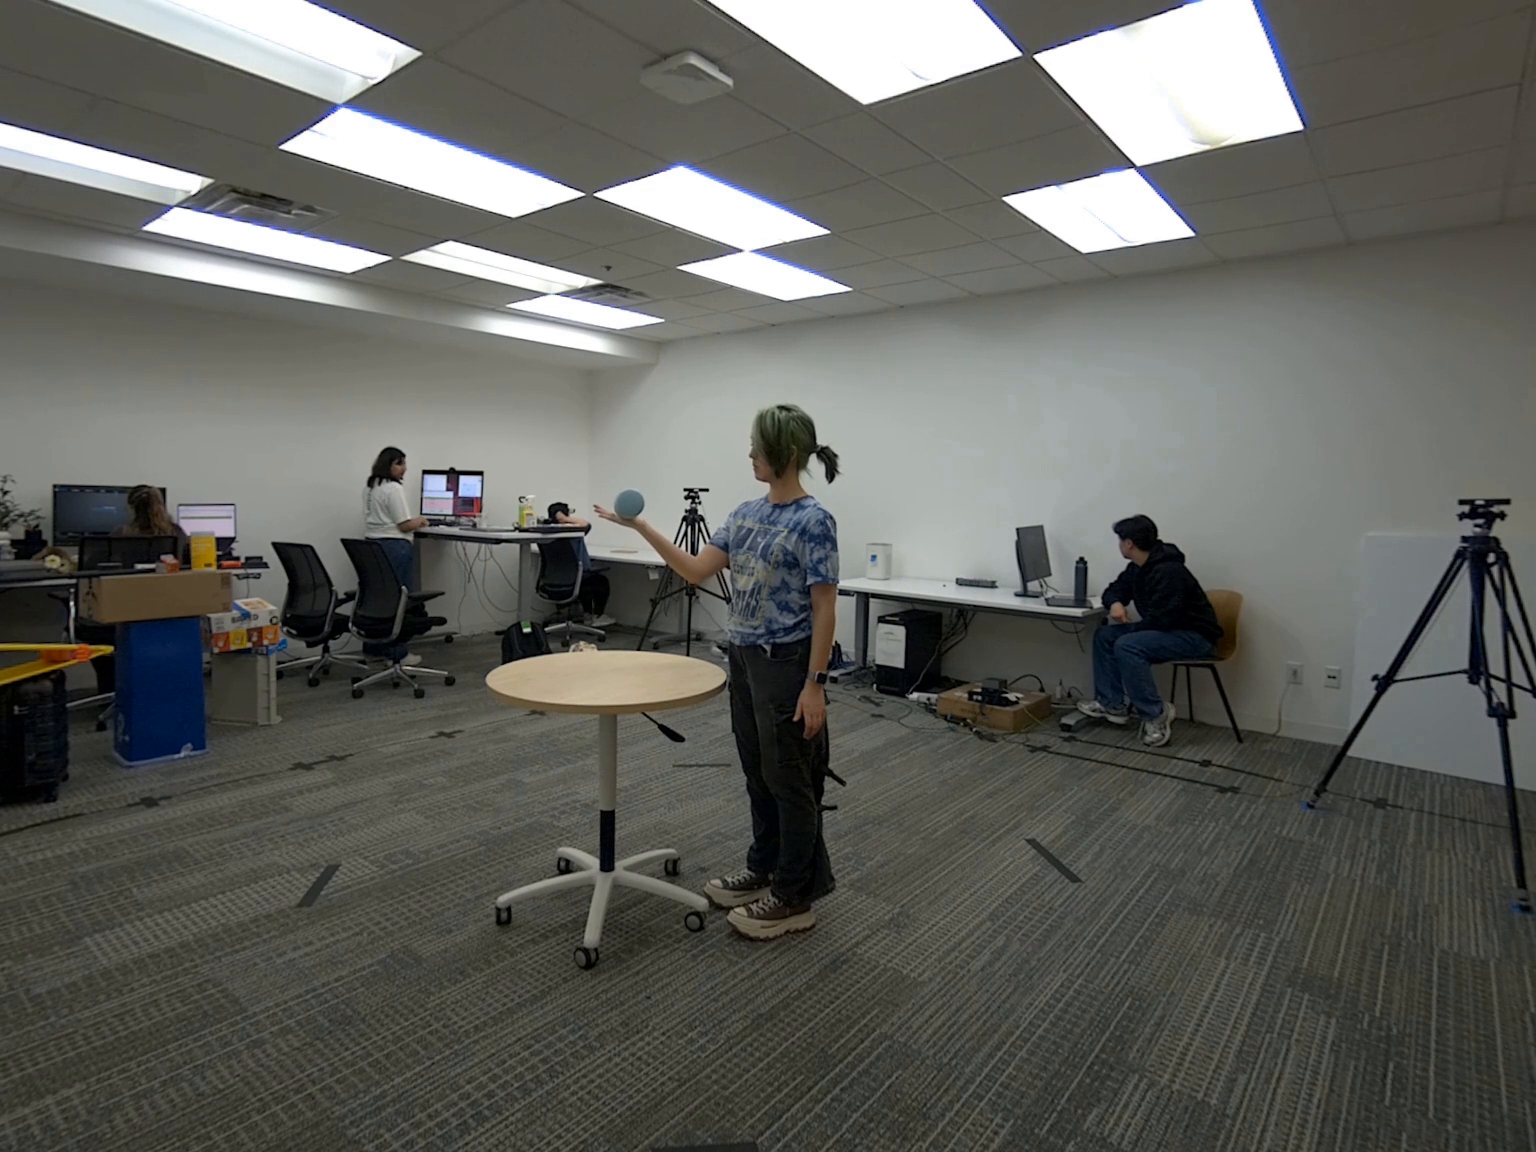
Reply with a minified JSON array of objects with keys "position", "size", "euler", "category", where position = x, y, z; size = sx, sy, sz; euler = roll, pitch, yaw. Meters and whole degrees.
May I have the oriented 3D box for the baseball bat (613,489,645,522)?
[{"position":[-0.481,-0.228,2.756],"size":[0.088,0.089,0.550],"euler":[0,3,-12],"category":"baseball bat"}]
